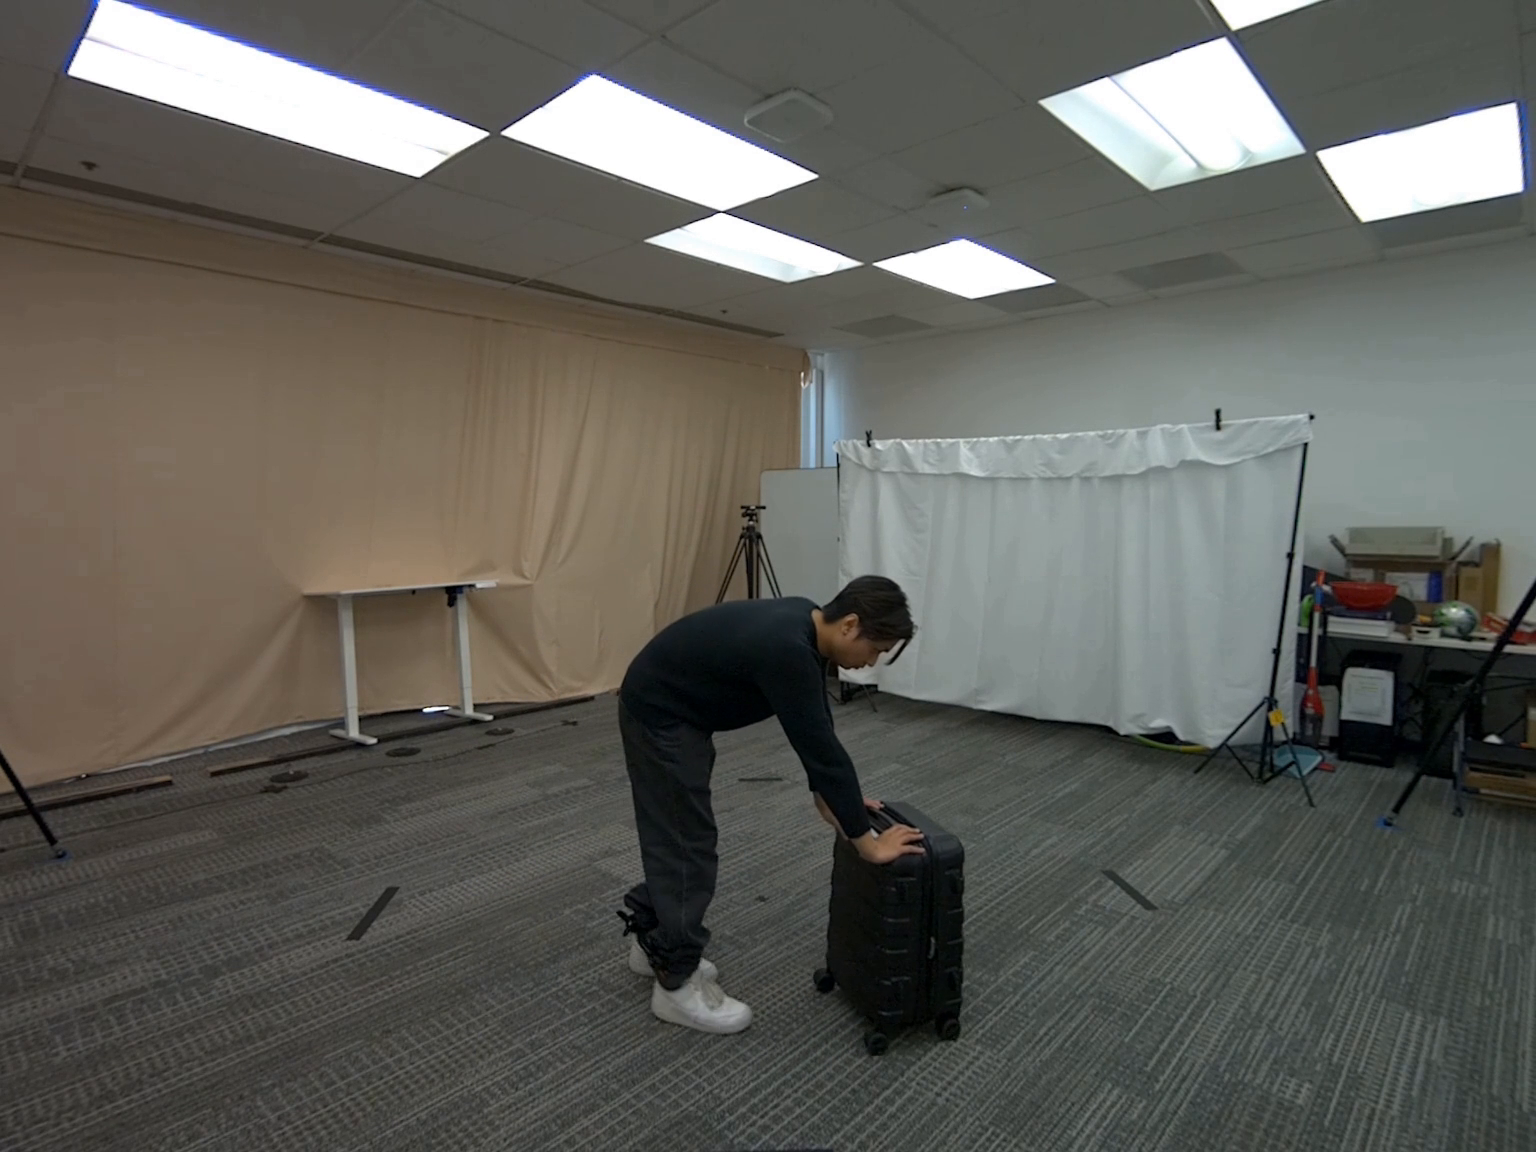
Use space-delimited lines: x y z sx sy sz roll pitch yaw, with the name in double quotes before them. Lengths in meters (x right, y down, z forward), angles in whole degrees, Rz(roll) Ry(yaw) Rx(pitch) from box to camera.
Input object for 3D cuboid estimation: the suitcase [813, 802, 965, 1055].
"suitcase" 0.352 0.928 2.305 0.243 0.549 0.383 2 2 -20
